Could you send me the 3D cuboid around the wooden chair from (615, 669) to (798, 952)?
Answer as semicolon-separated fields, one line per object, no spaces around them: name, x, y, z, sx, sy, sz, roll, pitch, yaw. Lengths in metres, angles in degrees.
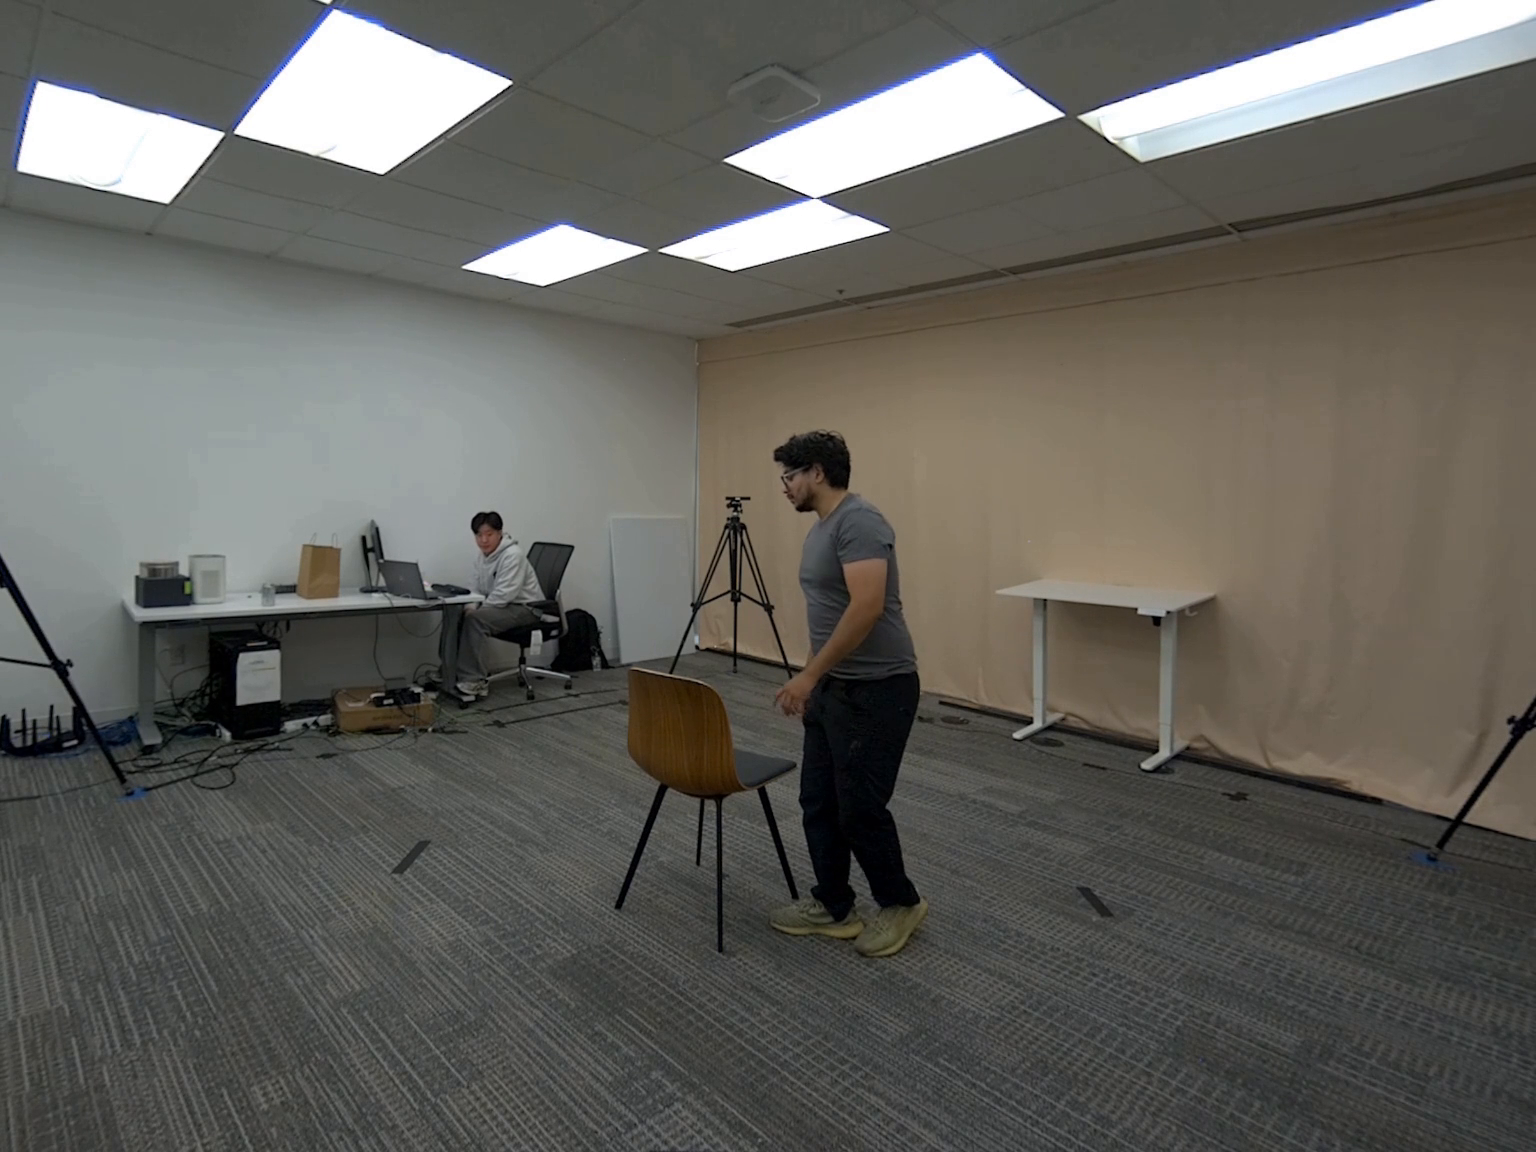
wooden chair;-0.198;0.697;2.868;0.489;0.873;0.513;3;8;35
